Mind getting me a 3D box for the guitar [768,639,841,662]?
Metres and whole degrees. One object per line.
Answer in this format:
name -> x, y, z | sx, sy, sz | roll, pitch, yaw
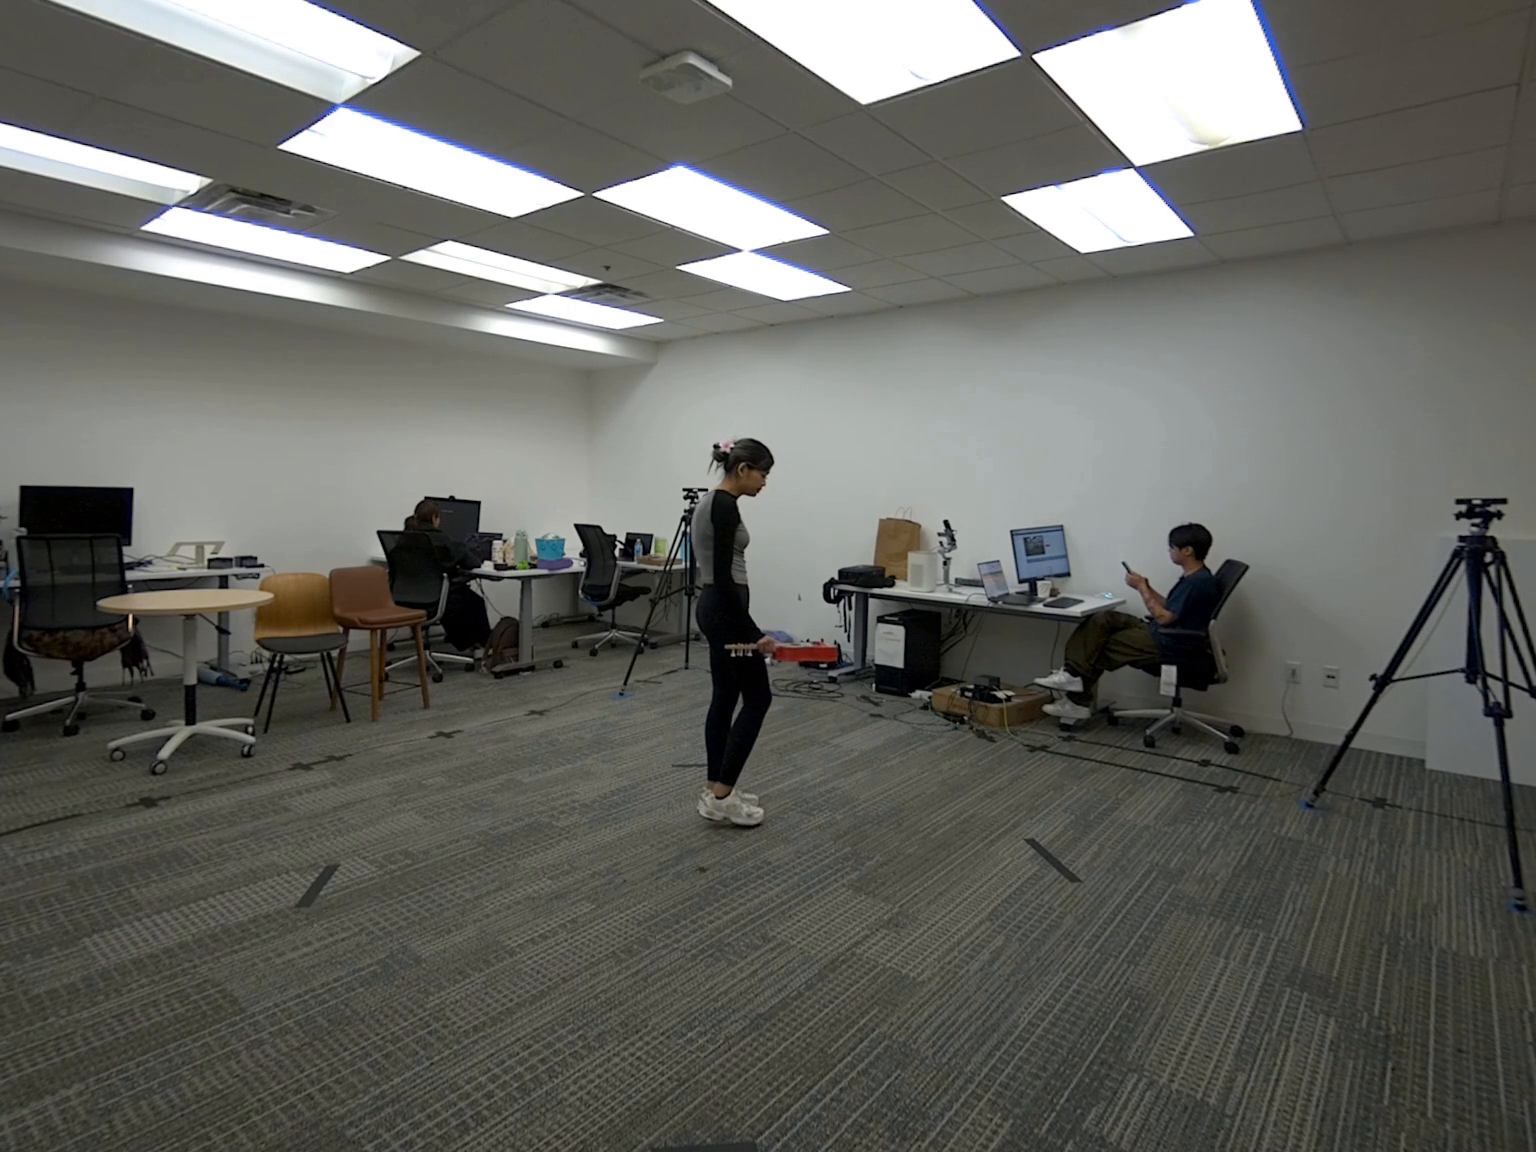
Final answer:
guitar -> 0.027, 0.304, 3.480 | 0.487, 0.071, 0.197 | 2, 2, -20
